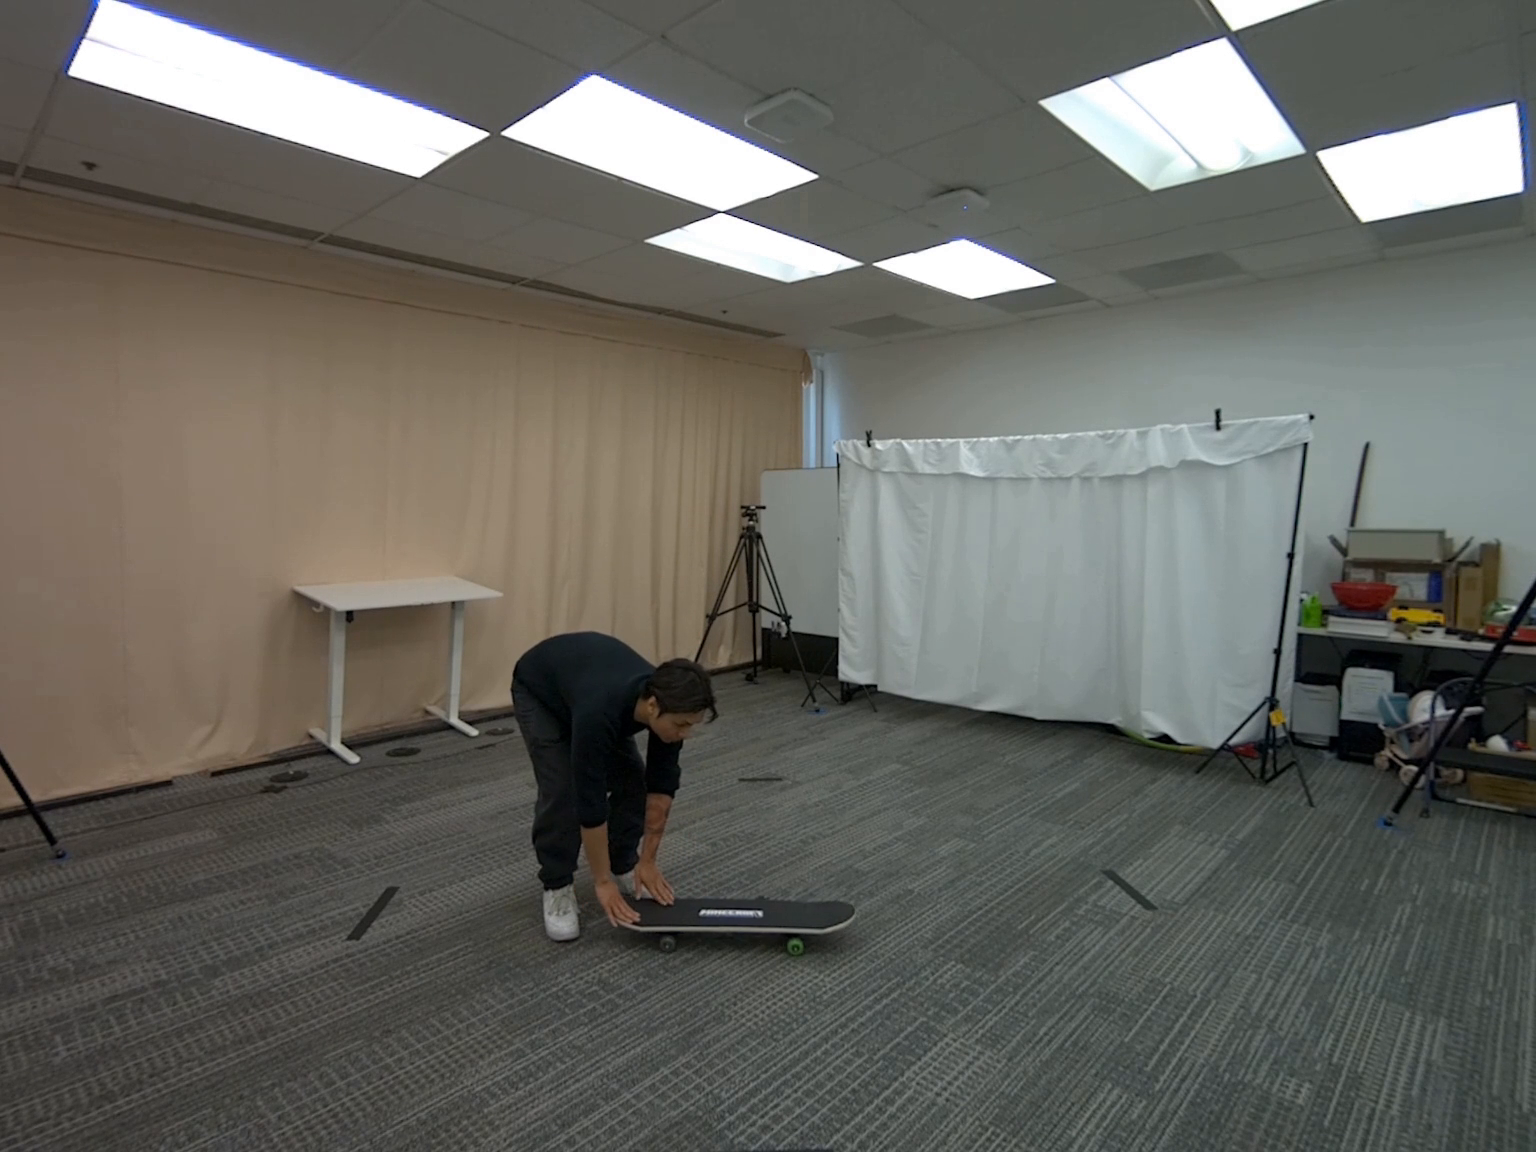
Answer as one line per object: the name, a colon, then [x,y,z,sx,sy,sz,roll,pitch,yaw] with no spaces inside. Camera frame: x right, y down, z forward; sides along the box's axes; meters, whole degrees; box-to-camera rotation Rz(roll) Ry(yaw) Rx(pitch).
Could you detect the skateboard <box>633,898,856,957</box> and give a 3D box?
skateboard: [-0.108,1.116,2.688,0.787,0.110,0.193,0,5,2]
